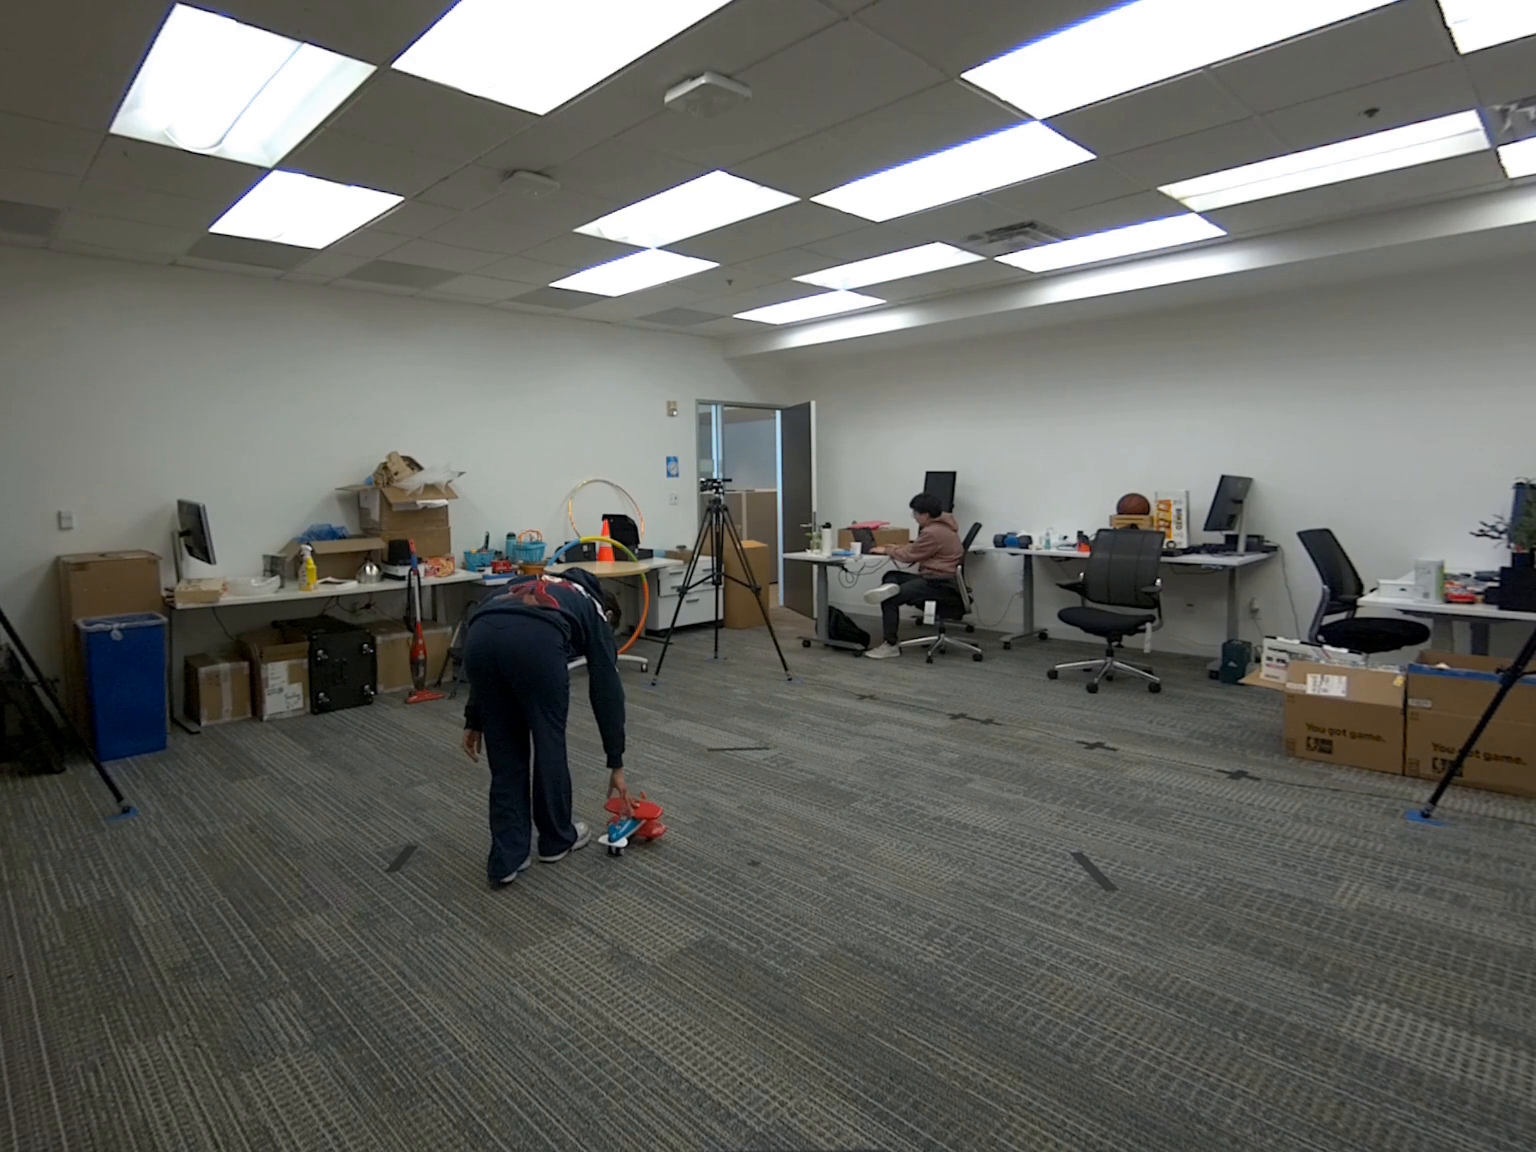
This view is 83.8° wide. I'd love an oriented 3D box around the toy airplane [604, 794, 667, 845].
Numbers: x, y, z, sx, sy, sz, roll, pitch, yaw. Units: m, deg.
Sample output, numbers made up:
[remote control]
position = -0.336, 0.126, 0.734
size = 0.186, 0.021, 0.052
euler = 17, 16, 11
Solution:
[toy airplane]
position = -0.507, 0.962, 3.267
size = 0.251, 0.156, 0.260
euler = 0, 5, -2
